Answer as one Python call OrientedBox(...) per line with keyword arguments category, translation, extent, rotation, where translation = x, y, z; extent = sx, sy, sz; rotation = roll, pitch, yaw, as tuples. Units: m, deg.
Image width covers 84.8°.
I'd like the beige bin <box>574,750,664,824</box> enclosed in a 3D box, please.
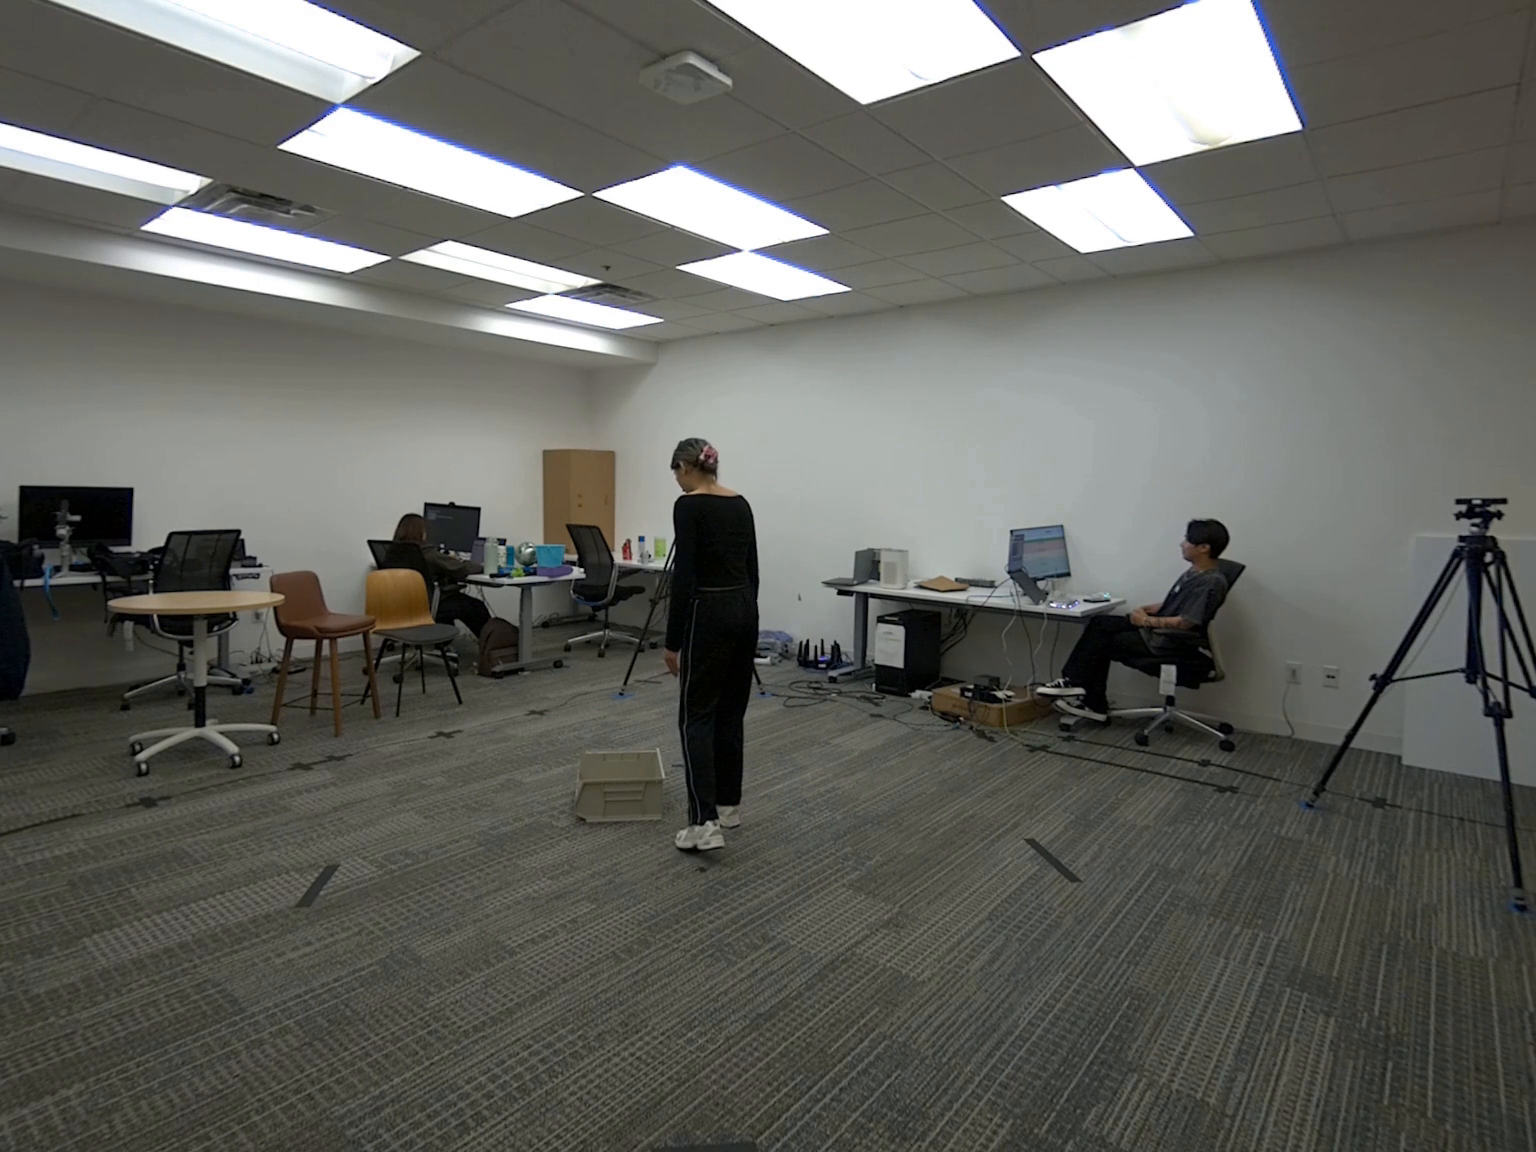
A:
OrientedBox(category="beige bin", translation=(-0.673, 0.914, 3.750), extent=(0.373, 0.188, 0.428), rotation=(0, 4, -11))
